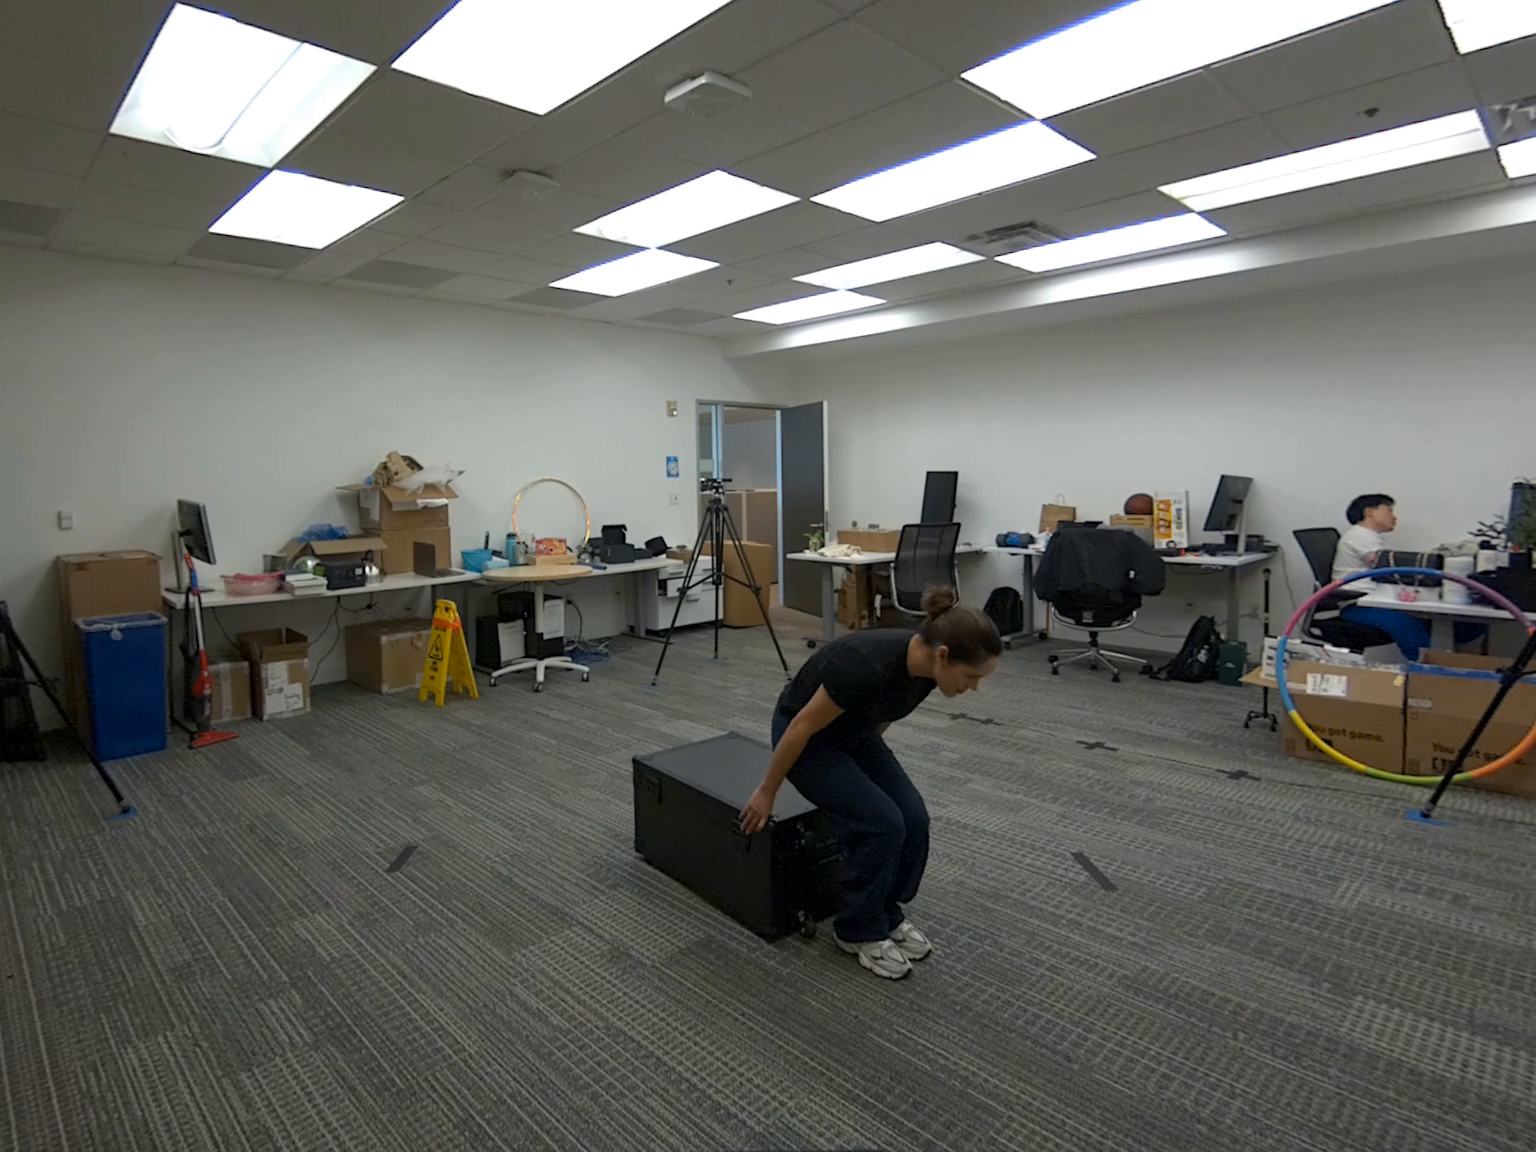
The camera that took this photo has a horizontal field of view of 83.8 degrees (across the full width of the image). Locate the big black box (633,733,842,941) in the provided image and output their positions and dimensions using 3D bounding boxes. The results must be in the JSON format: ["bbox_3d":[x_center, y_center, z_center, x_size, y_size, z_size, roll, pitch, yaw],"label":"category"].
[{"bbox_3d":[-0.078,0.865,3.035,0.507,0.394,0.889,-5,8,-39],"label":"big black box"}]
